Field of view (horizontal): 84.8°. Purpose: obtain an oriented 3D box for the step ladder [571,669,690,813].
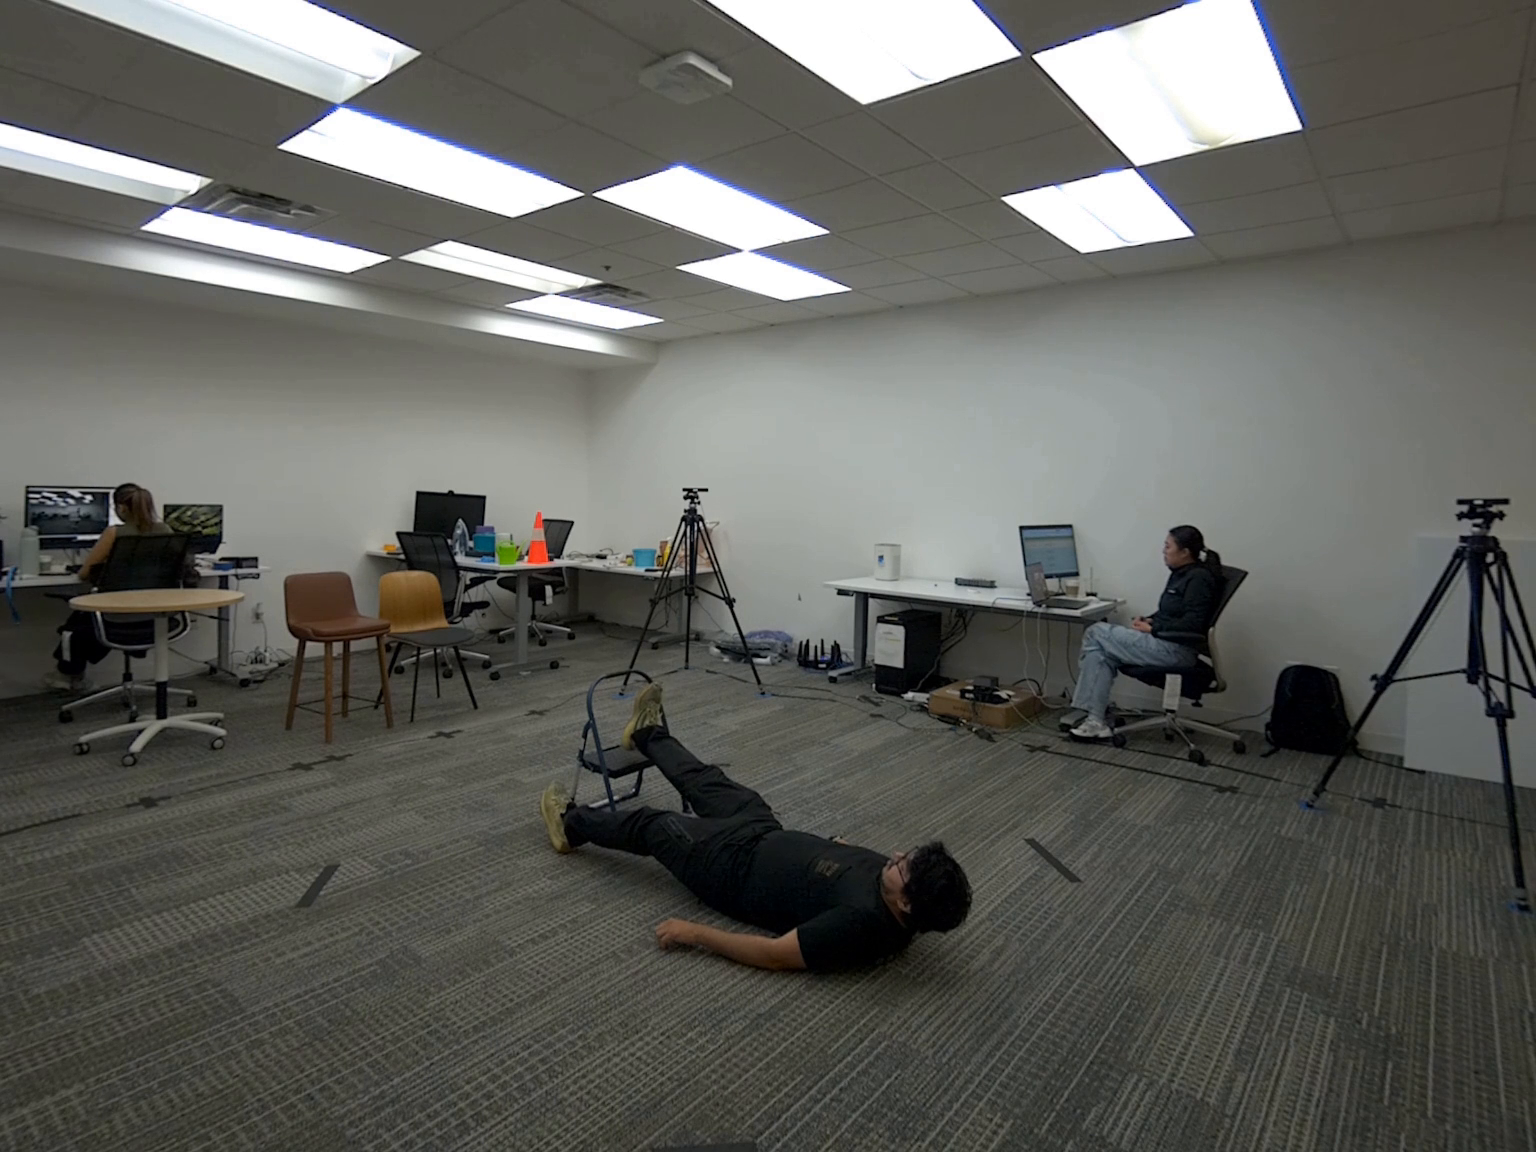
[{"bbox_3d":[-0.596,0.713,3.600,0.361,0.605,0.418,3,3,38],"label":"step ladder"}]
